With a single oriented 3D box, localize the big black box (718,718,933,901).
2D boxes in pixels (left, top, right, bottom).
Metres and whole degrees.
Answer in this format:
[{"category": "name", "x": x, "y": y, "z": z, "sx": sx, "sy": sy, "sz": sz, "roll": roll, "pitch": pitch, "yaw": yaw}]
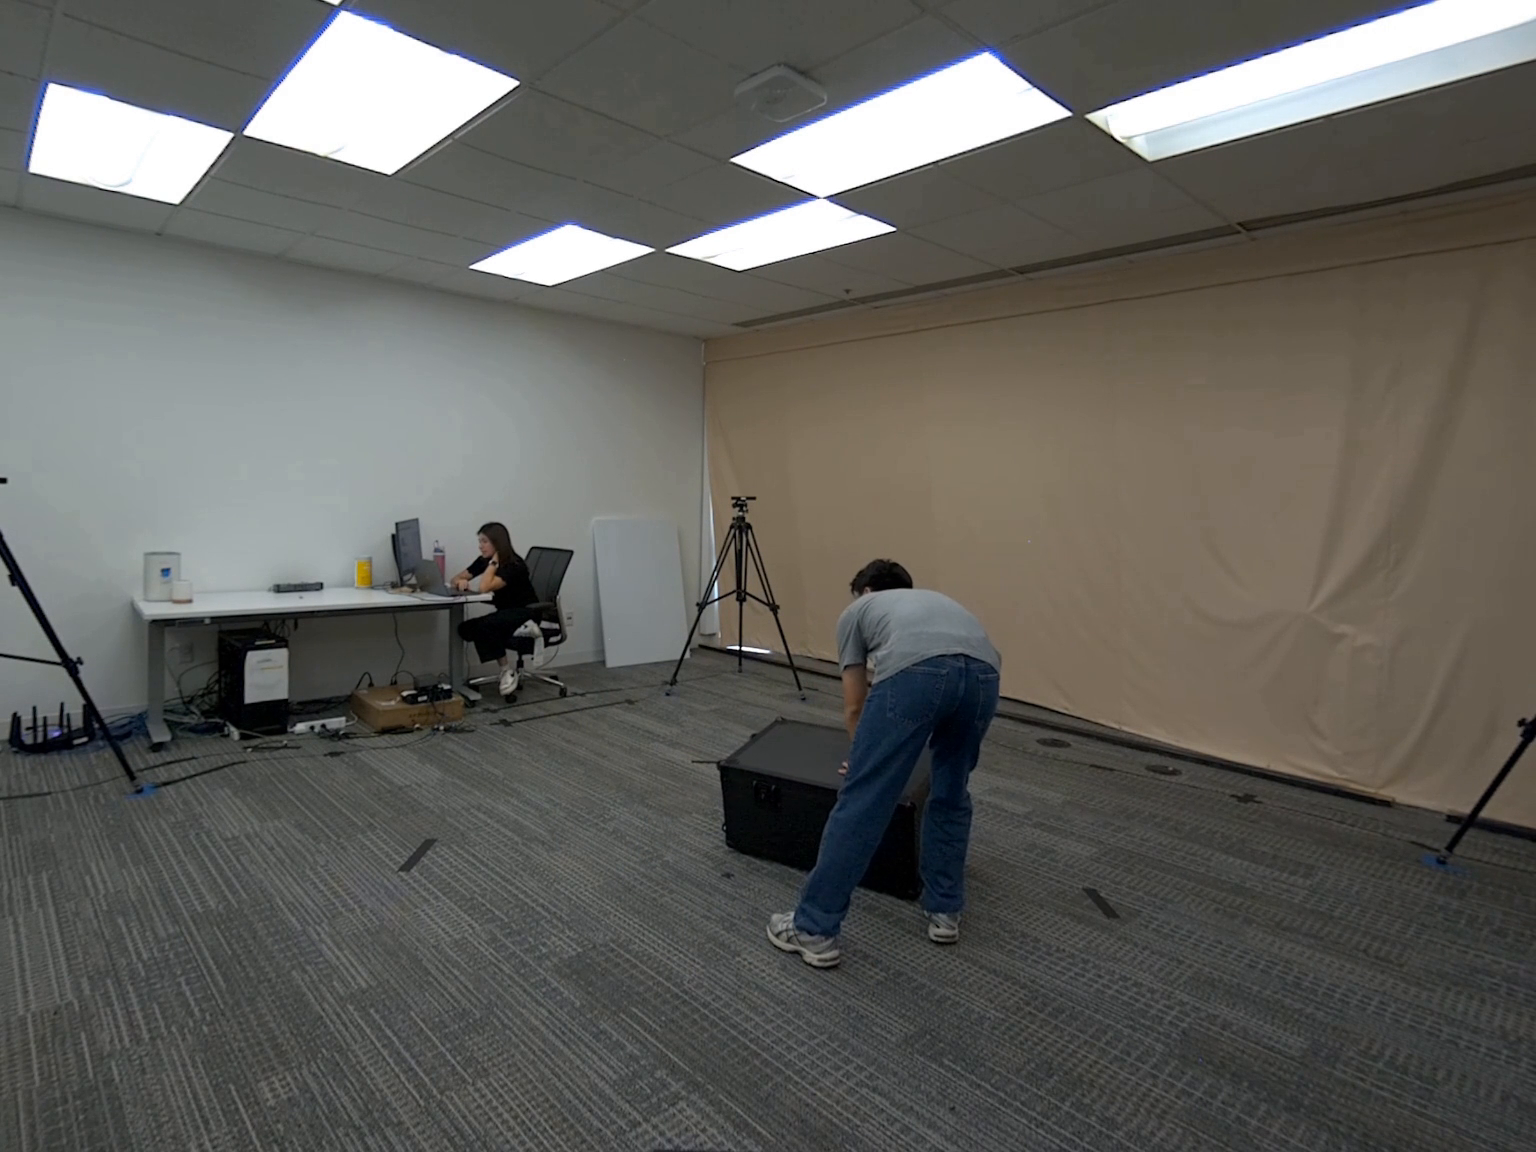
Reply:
[{"category": "big black box", "x": 0.248, "y": 0.875, "z": 3.296, "sx": 0.881, "sy": 0.392, "sz": 0.515, "roll": 5, "pitch": 16, "yaw": 31}]
